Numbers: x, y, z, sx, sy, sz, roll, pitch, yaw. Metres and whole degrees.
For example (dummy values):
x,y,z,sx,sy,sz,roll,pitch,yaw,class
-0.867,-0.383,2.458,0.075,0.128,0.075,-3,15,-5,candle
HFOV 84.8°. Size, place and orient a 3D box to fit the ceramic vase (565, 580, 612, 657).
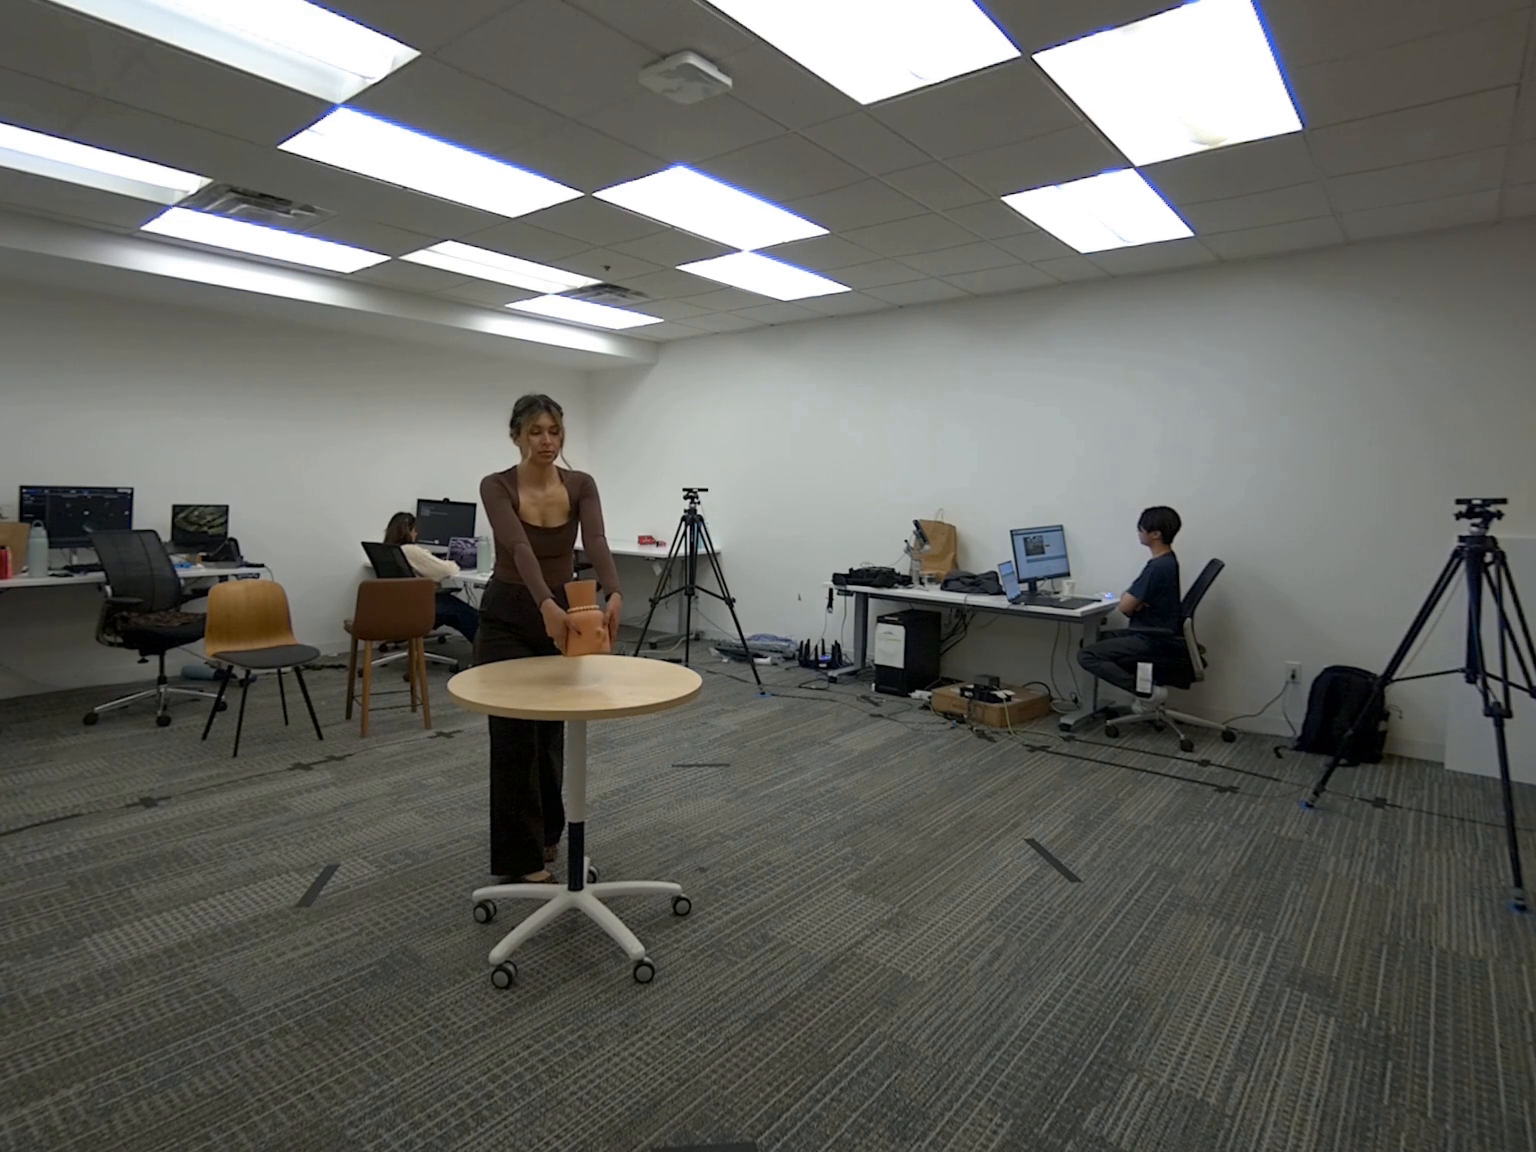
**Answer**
x,y,z,sx,sy,sz,roll,pitch,yaw,class
-0.577,0.129,2.578,0.160,0.221,0.132,-8,-6,8,ceramic vase
